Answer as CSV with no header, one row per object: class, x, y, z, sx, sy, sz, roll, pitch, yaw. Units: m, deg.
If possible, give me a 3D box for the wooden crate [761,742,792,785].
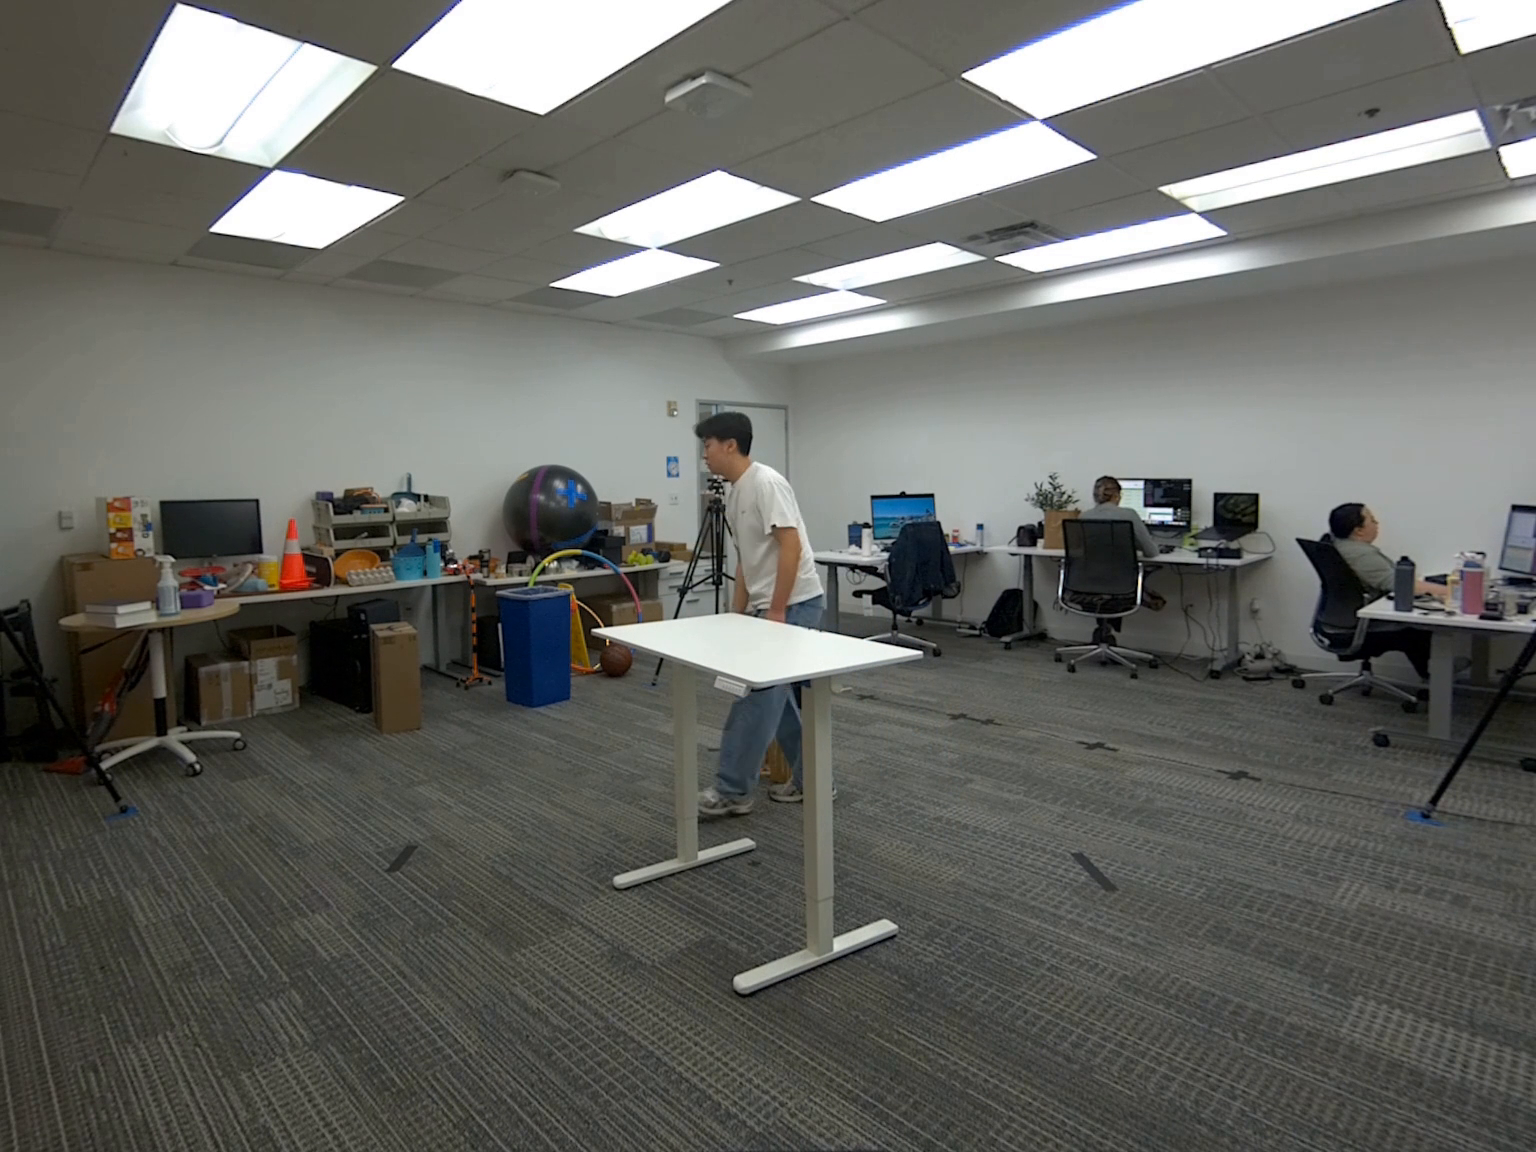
wooden crate,0.017,0.778,4.035,0.280,0.321,0.297,5,11,28
